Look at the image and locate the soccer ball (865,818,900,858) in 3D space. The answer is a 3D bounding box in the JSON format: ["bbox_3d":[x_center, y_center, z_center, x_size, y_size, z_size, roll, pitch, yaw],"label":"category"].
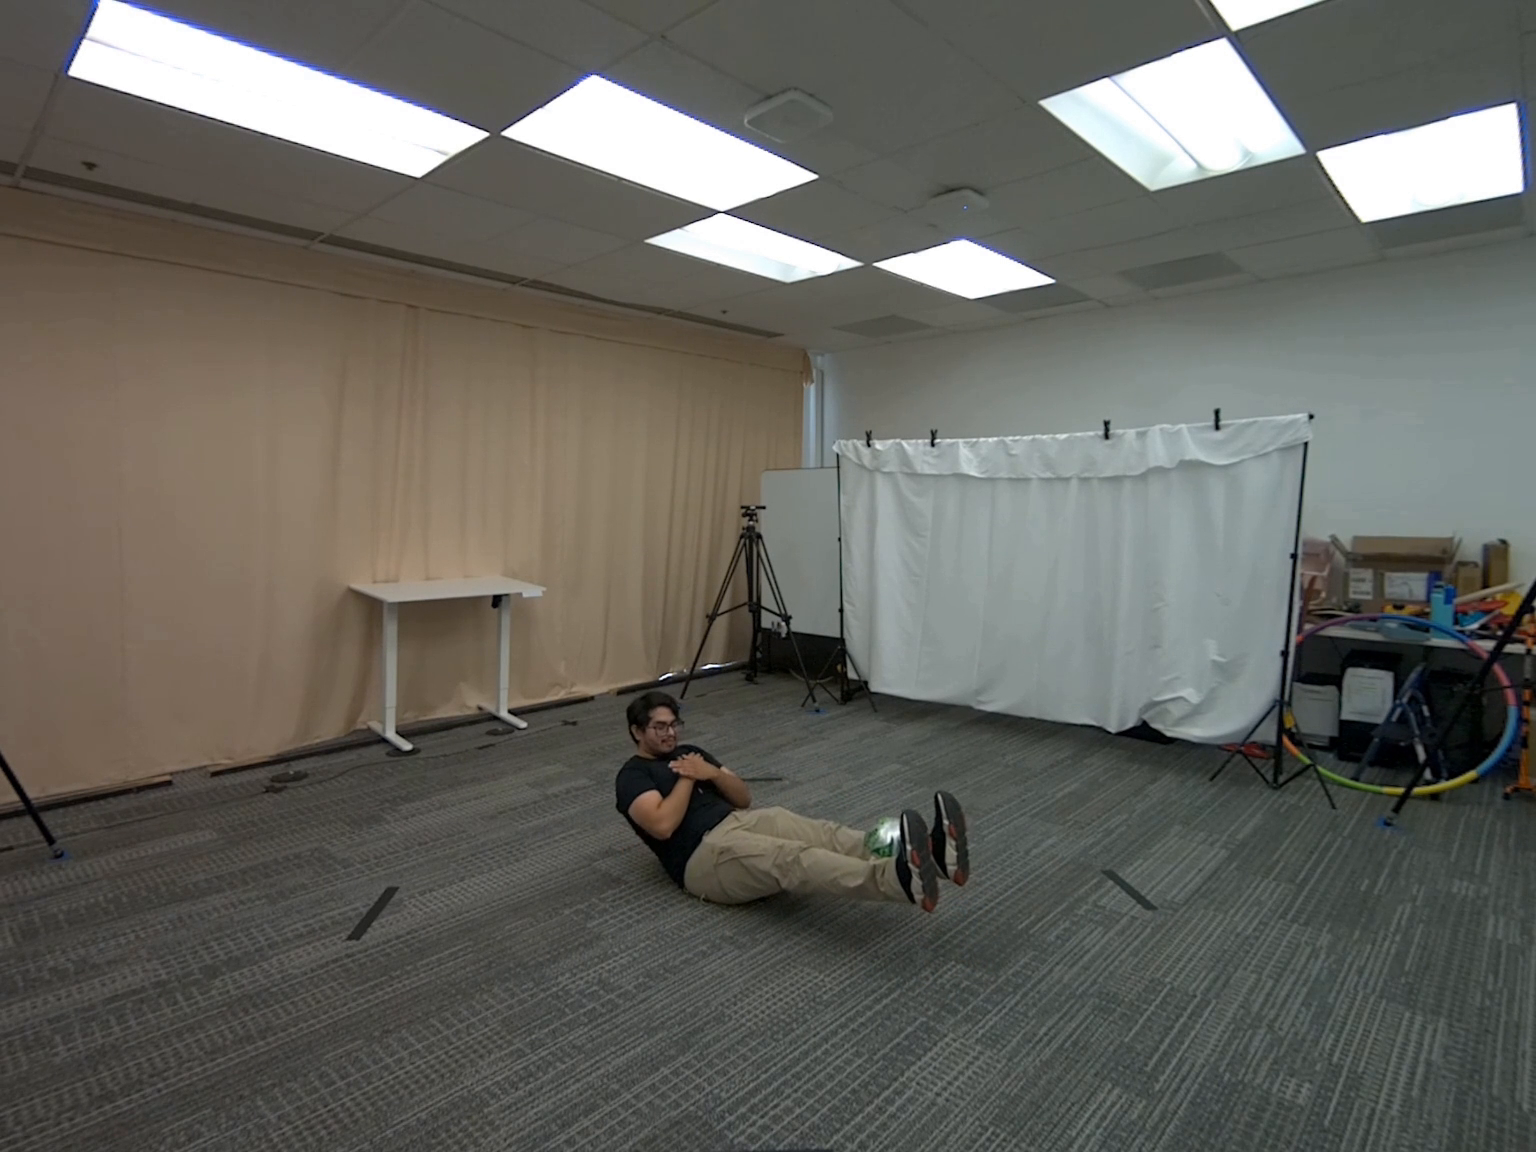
[{"bbox_3d":[0.405,0.869,2.659,0.187,0.187,0.188,0,4,-2],"label":"soccer ball"}]
